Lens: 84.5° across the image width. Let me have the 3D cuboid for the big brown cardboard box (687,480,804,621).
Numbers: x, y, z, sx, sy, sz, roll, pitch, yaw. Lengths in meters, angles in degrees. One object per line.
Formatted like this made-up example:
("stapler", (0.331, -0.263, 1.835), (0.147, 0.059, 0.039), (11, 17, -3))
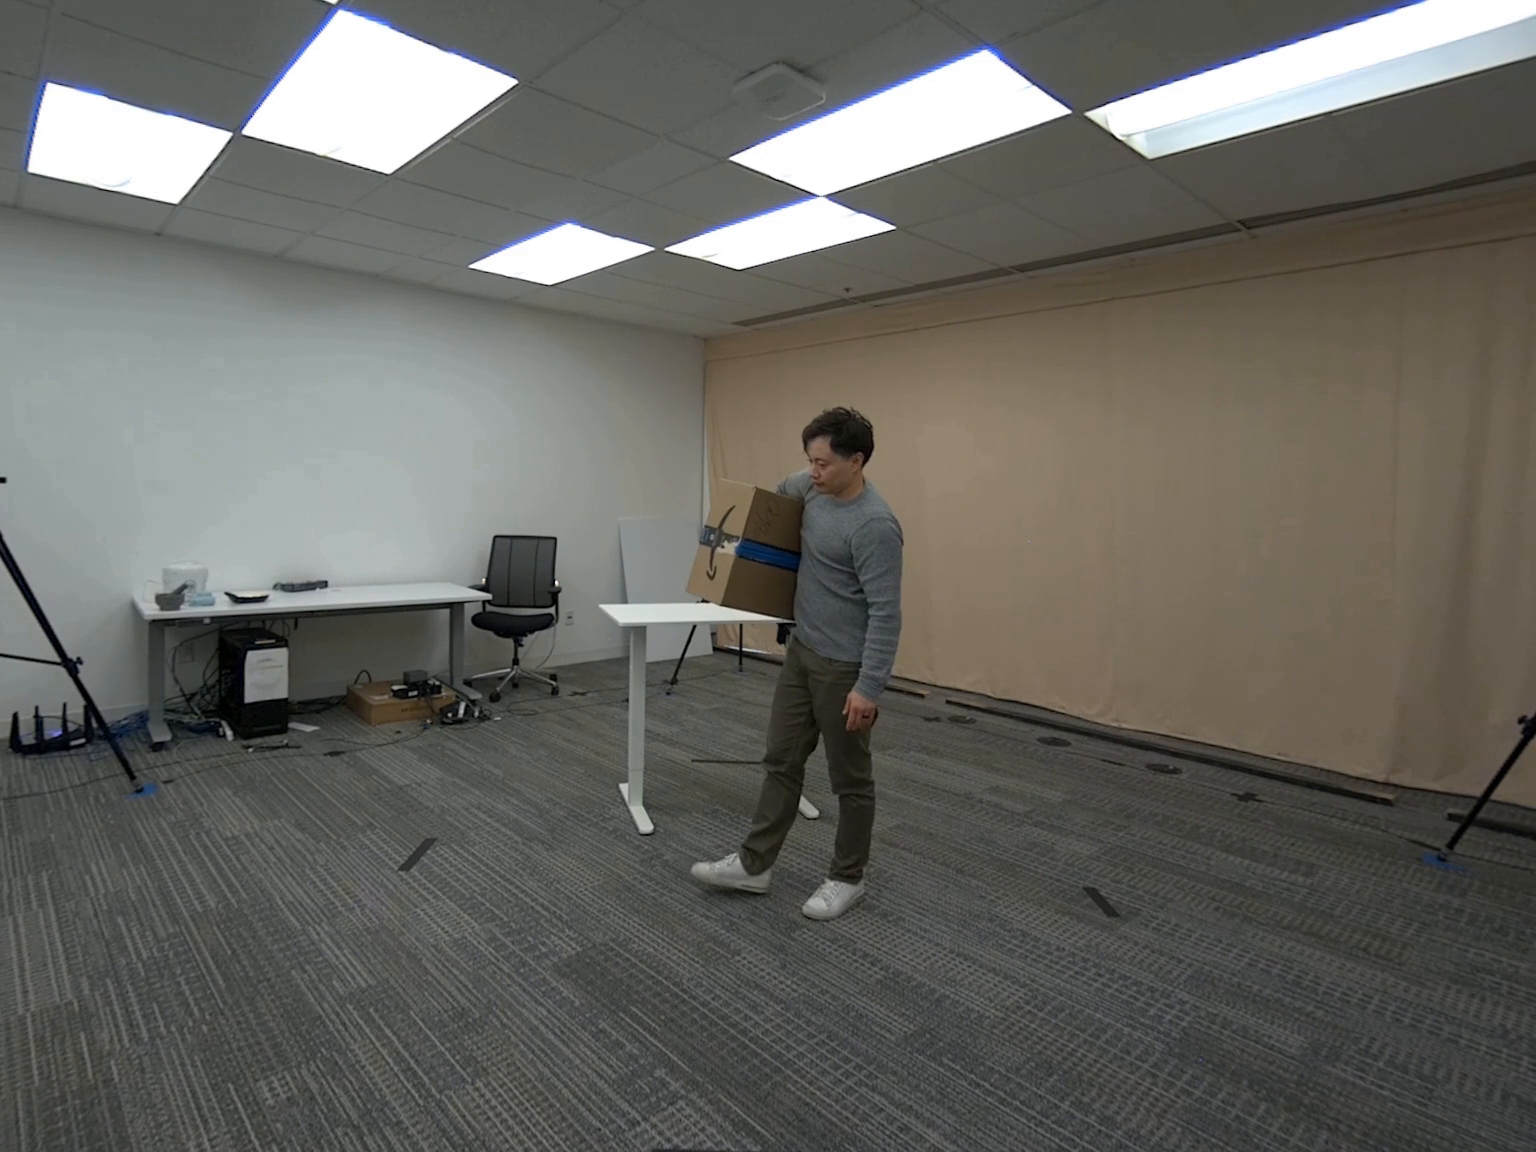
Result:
("big brown cardboard box", (0.035, -0.065, 3.032), (0.573, 0.417, 0.240), (14, 2, -39))
